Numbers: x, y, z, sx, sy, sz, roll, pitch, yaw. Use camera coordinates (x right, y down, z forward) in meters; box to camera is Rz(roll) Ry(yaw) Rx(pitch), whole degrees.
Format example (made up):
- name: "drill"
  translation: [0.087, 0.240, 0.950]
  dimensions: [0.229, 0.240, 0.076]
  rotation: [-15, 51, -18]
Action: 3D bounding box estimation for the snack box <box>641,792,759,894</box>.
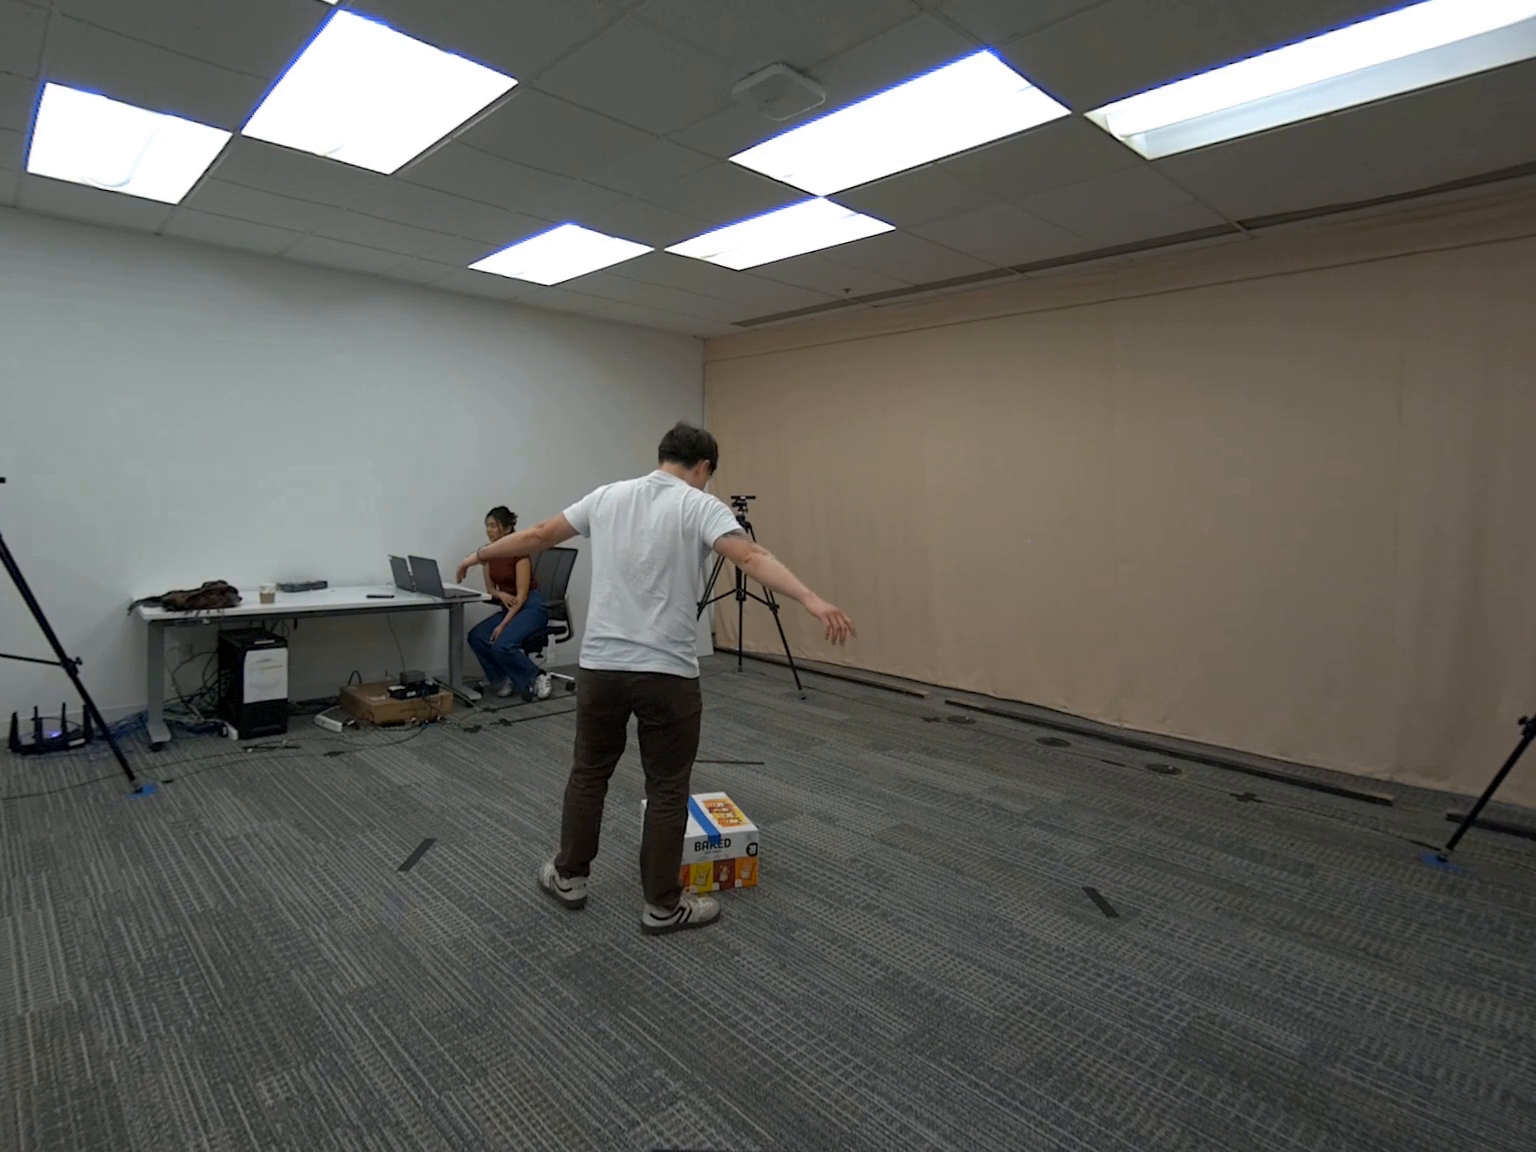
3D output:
- name: "snack box"
  translation: [-0.273, 0.995, 3.152]
  dimensions: [0.335, 0.205, 0.412]
  rotation: [0, 5, -20]
